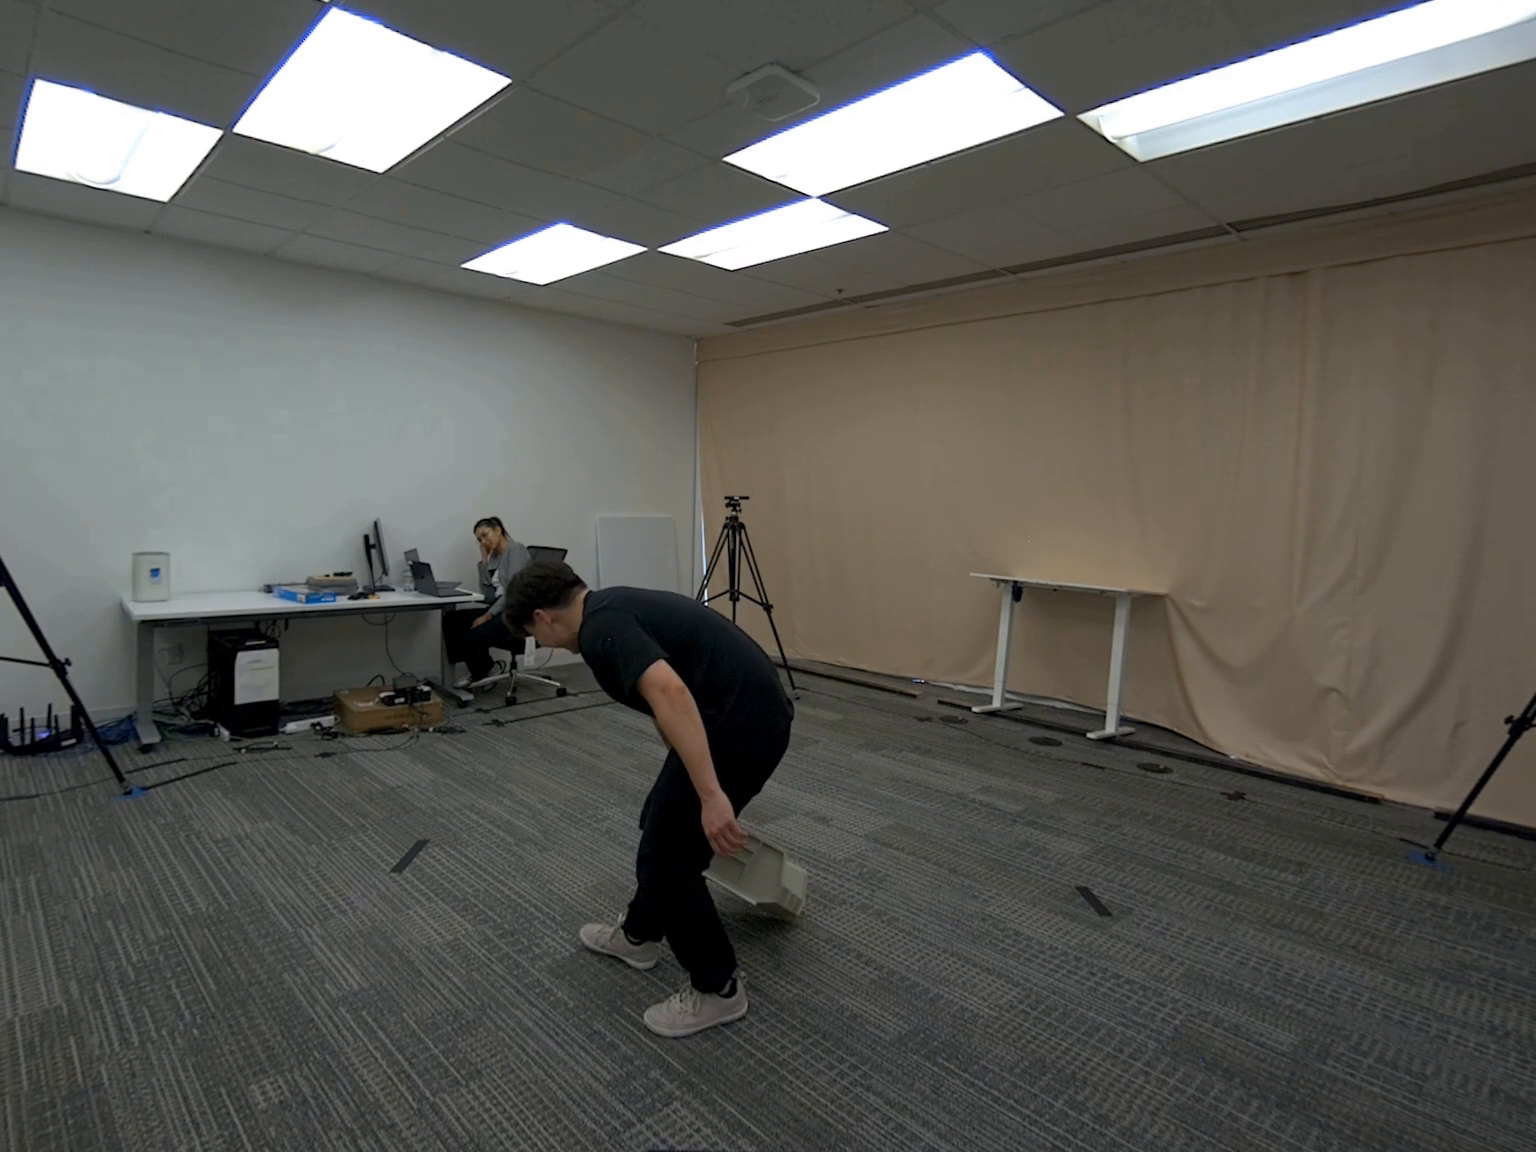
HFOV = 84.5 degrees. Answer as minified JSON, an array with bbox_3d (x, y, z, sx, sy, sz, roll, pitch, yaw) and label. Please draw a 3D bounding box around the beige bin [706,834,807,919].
[{"bbox_3d":[-0.078,0.928,2.696,0.385,0.190,0.411,20,-20,22],"label":"beige bin"}]
